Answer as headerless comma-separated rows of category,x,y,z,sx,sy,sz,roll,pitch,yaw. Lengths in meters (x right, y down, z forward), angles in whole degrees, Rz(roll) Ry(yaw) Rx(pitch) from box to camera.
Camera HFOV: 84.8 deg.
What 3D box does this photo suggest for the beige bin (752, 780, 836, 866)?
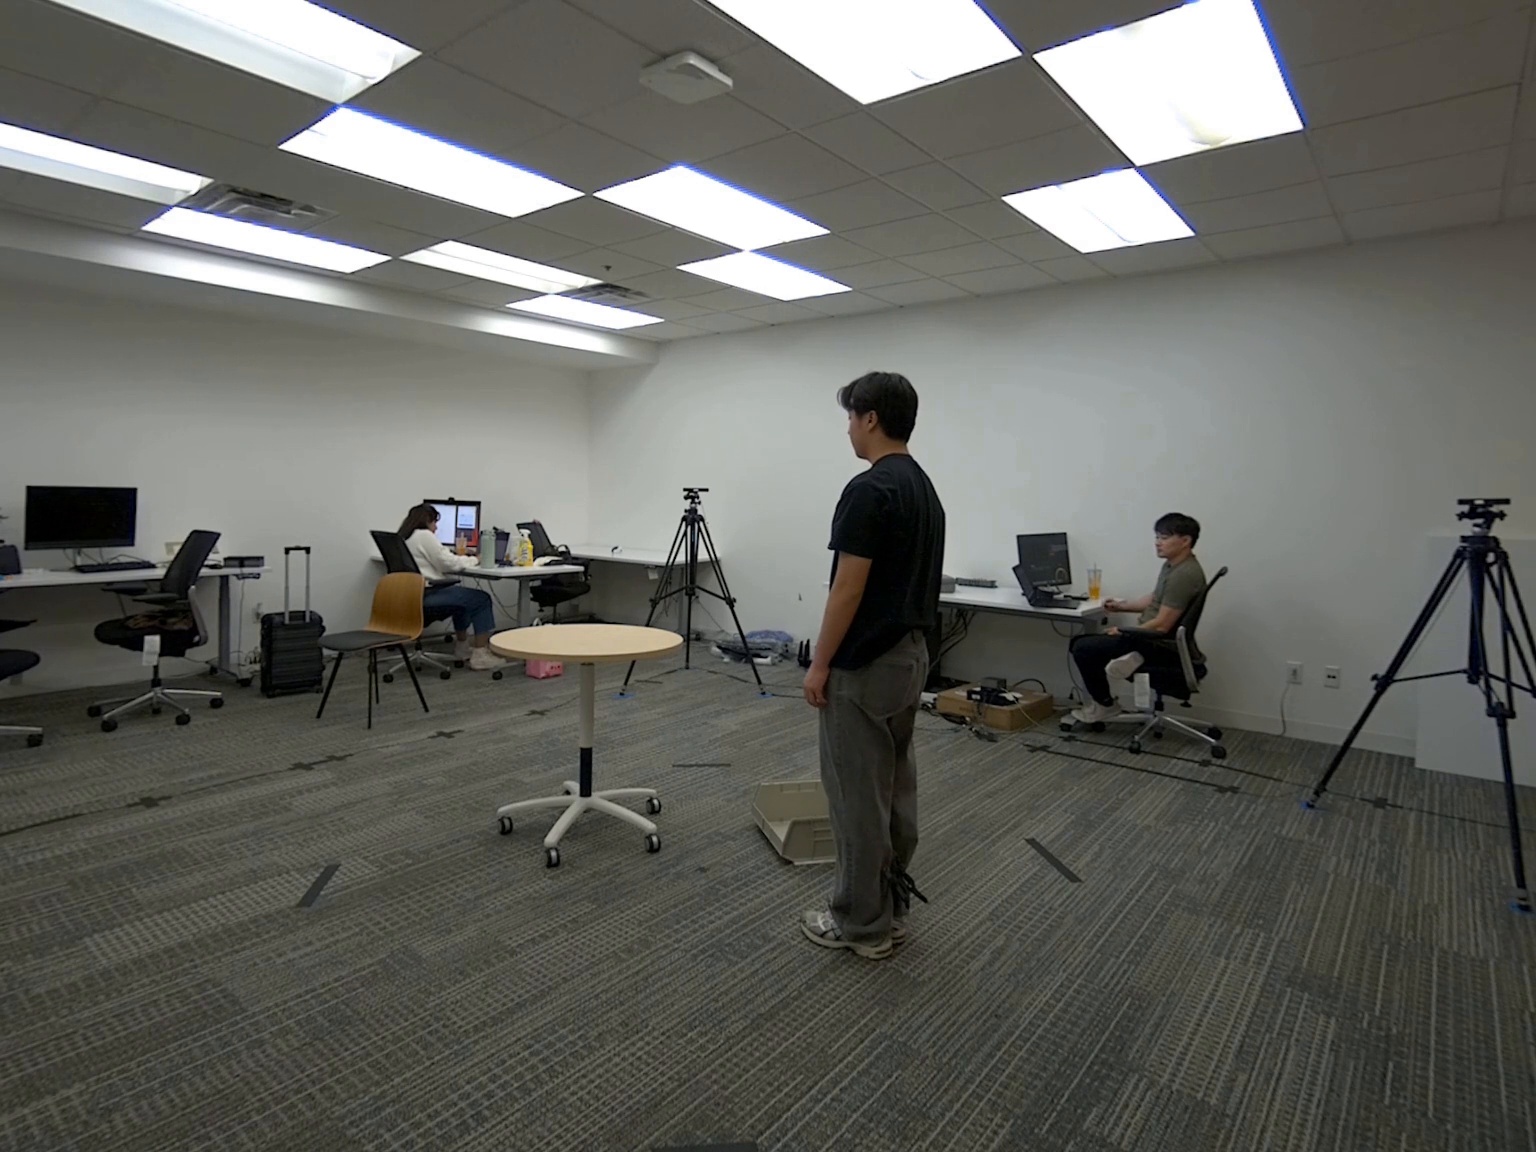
beige bin,0.159,0.964,3.382,0.371,0.188,0.431,1,4,-17
